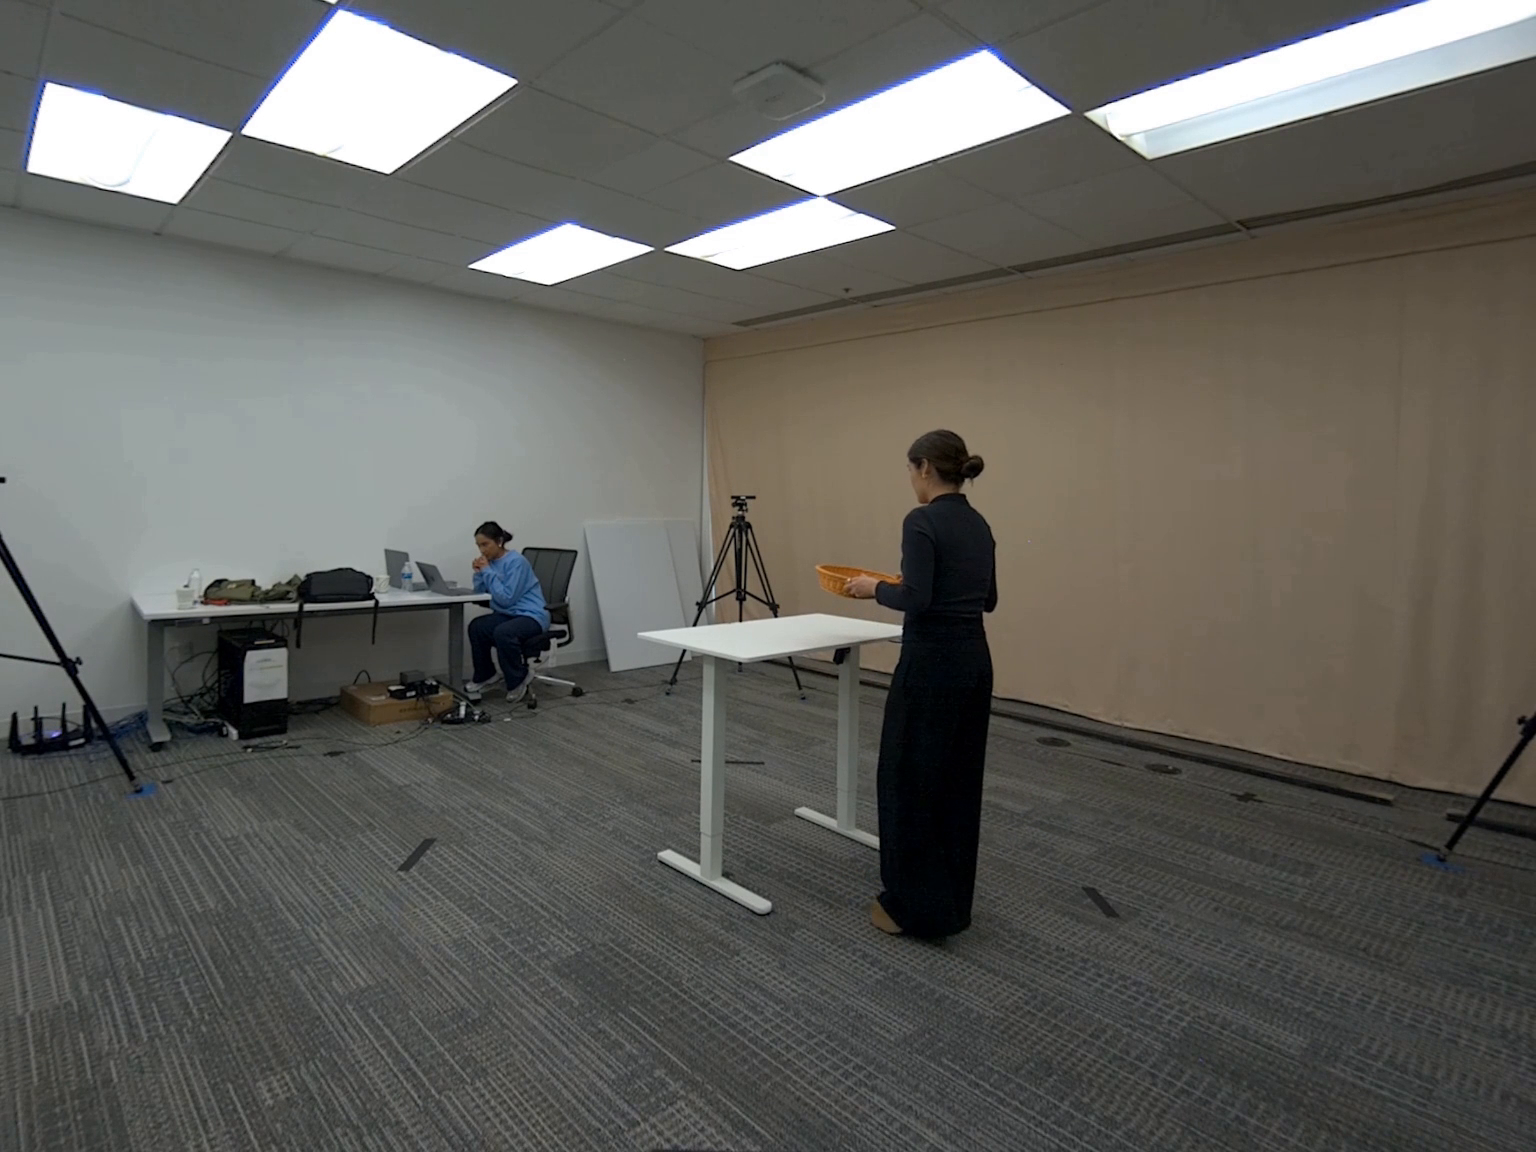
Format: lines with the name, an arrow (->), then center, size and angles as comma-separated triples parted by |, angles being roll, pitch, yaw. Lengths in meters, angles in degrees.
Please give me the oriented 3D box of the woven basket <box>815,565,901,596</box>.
woven basket -> 0.335, 0.032, 2.999 | 0.342, 0.073, 0.260 | 4, 10, -36
